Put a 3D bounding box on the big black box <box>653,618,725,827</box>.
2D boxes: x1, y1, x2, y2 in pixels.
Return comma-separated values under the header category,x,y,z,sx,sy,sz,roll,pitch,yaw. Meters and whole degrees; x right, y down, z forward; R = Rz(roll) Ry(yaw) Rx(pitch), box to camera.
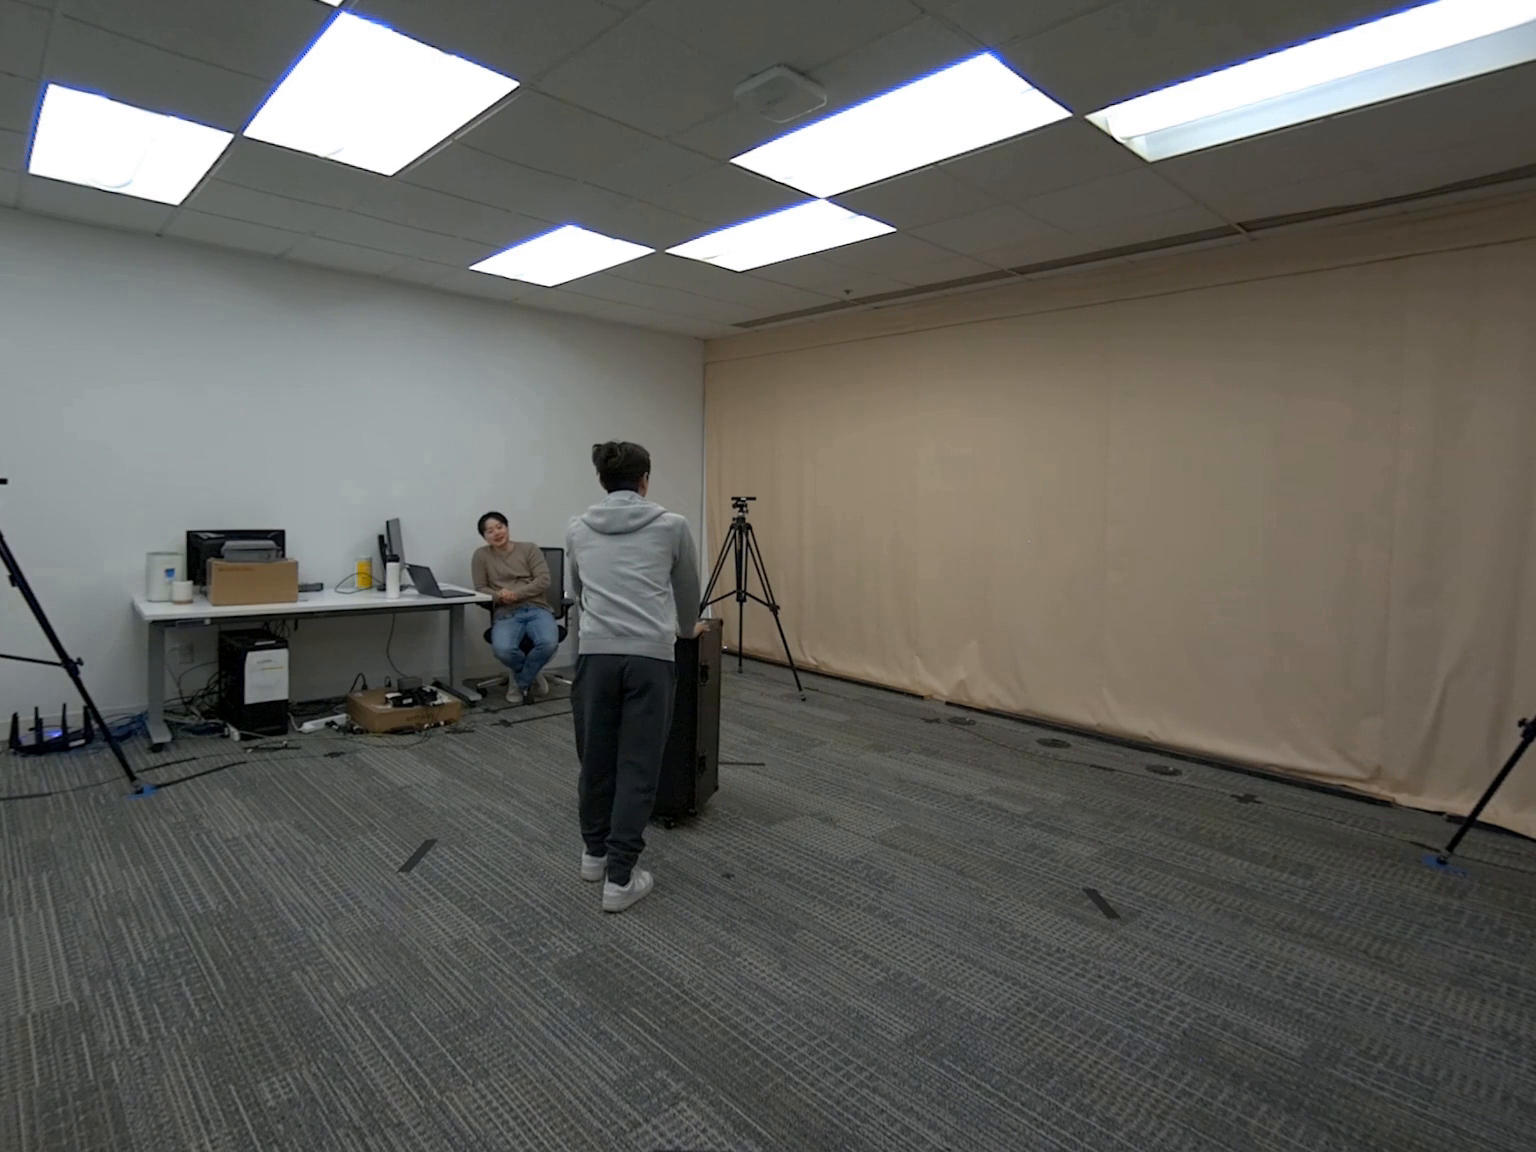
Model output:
category,x,y,z,sx,sy,sz,roll,pitch,yaw
big black box,-0.496,0.622,3.719,0.528,0.860,0.392,2,3,15
